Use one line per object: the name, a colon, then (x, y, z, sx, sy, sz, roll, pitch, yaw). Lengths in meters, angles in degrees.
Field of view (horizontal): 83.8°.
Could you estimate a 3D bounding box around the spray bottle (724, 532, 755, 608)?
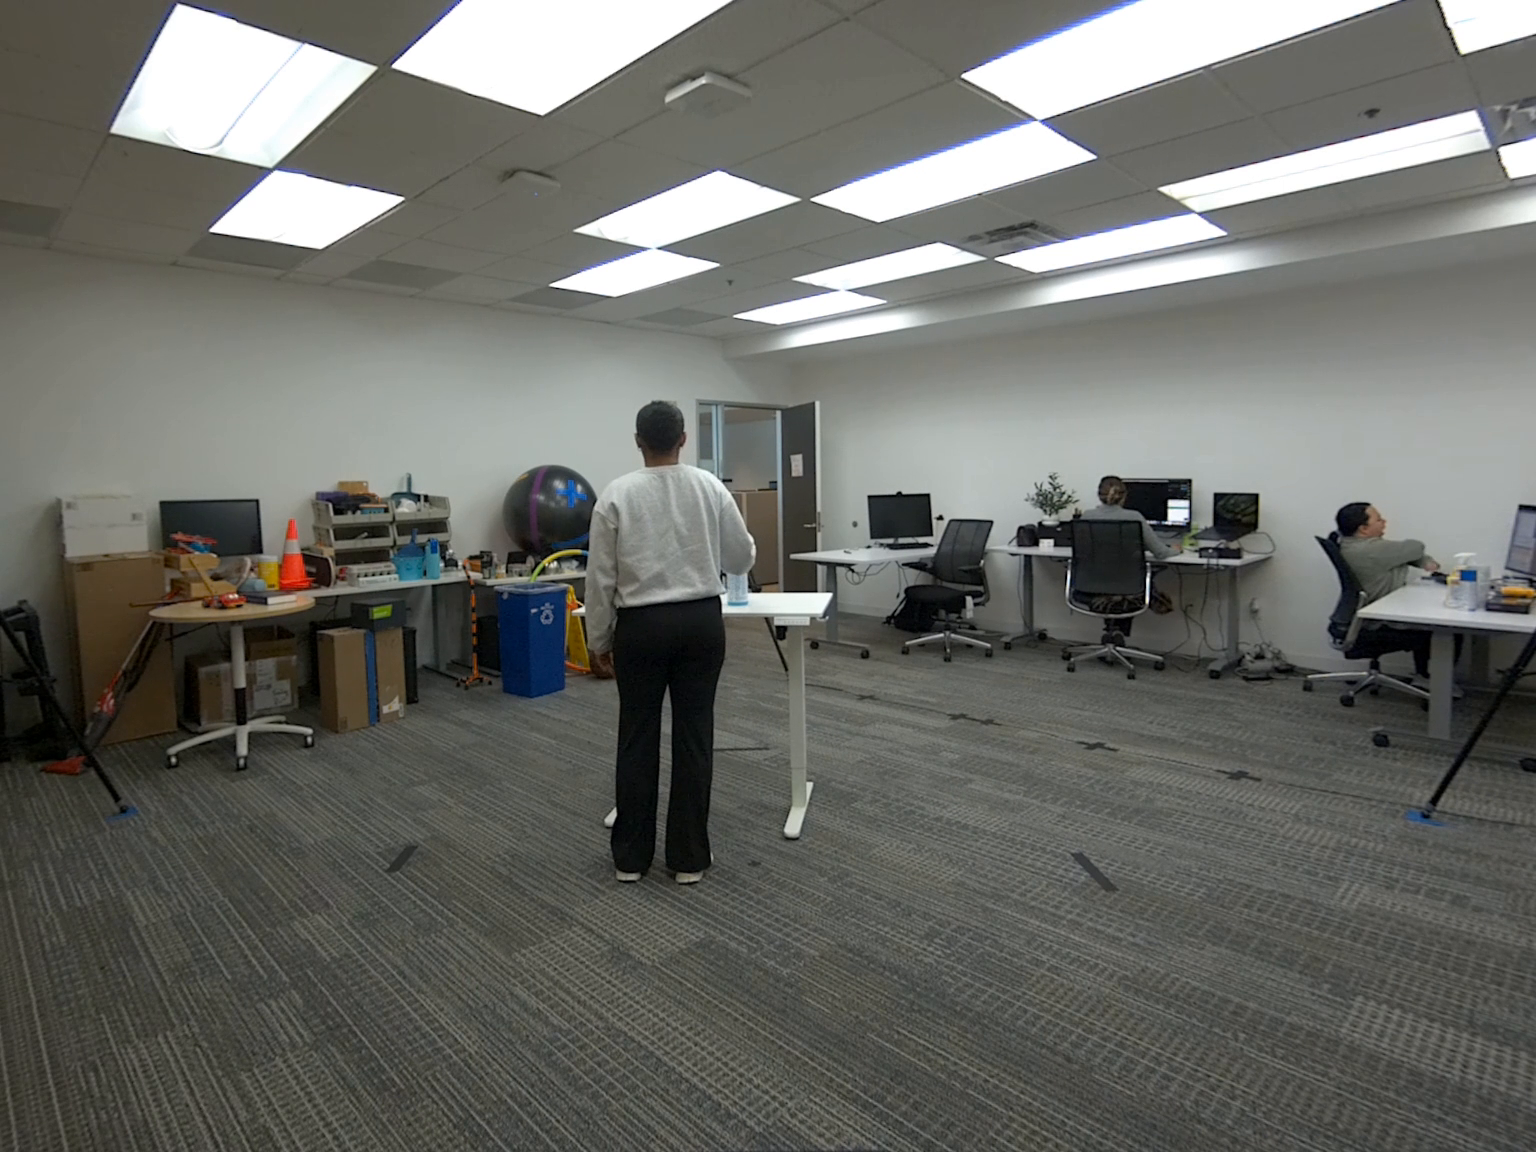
spray bottle: (-0.123, -0.029, 3.505, 0.088, 0.296, 0.089, -4, 5, -24)
